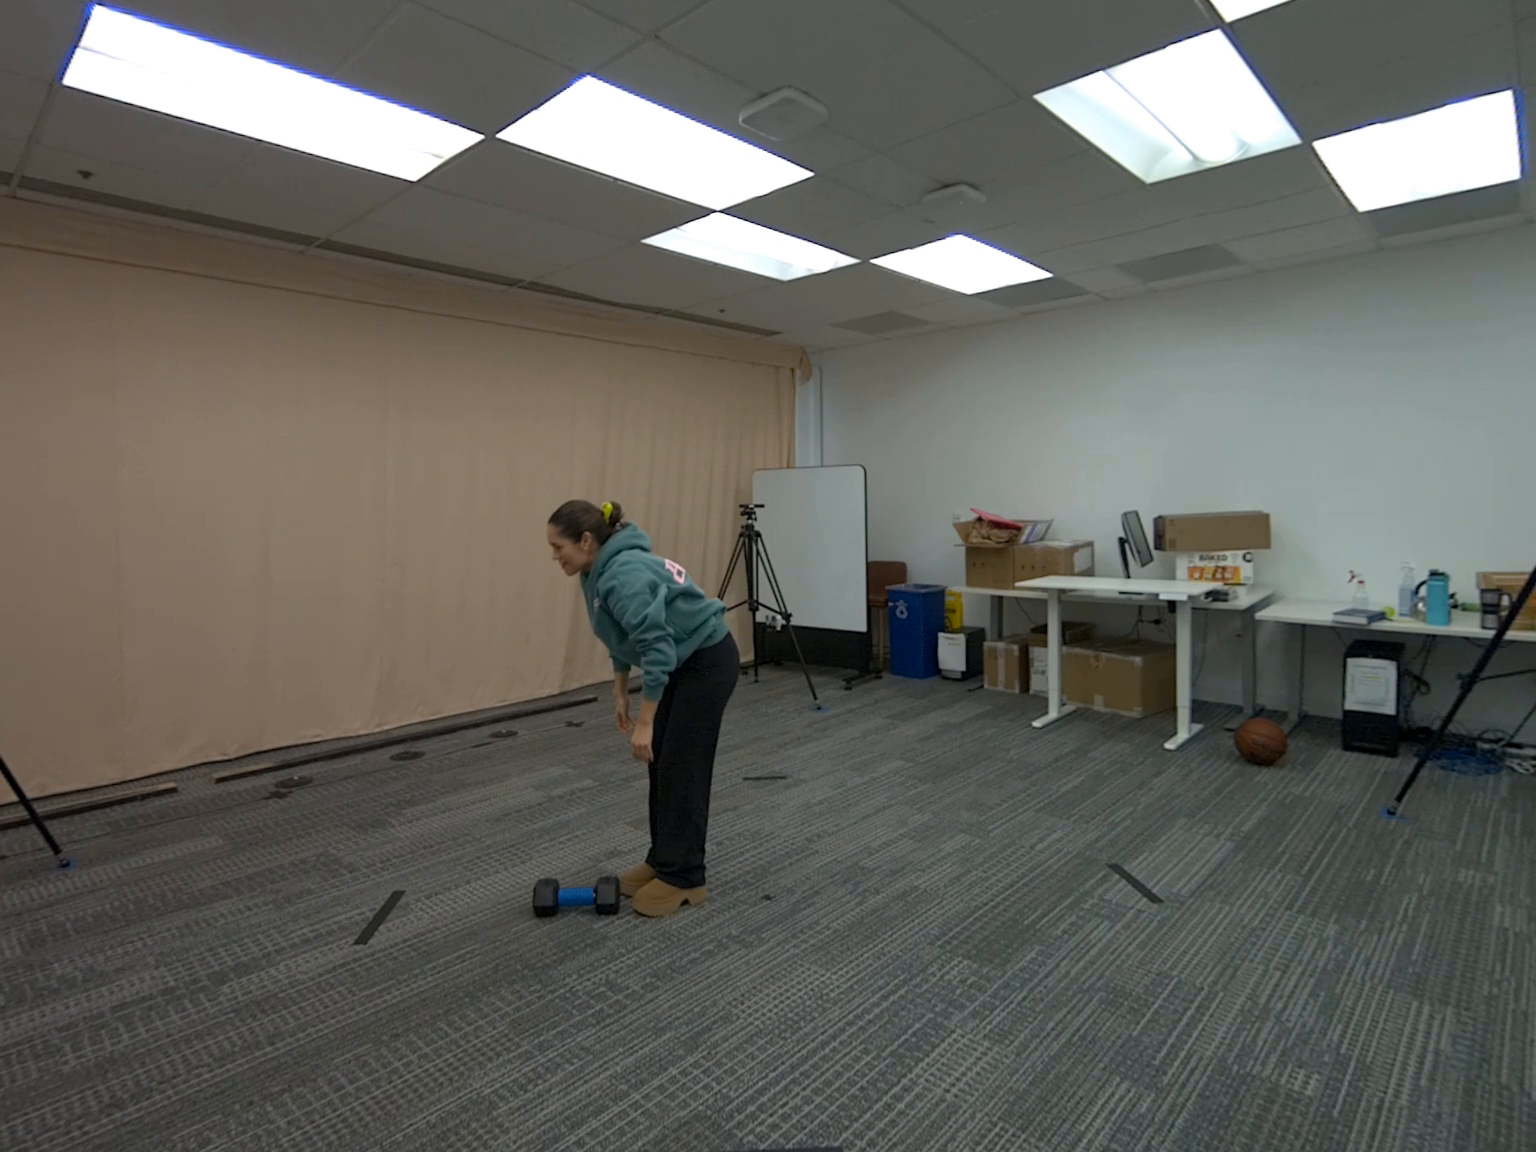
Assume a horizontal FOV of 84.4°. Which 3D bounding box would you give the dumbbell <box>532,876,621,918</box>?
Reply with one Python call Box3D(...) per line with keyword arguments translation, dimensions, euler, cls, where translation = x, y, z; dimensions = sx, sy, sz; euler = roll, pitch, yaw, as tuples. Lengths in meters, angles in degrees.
Box3D(translation=(-0.660, 1.117, 2.897), dimensions=(0.293, 0.121, 0.111), euler=(-1, 34, -2), cls="dumbbell")
